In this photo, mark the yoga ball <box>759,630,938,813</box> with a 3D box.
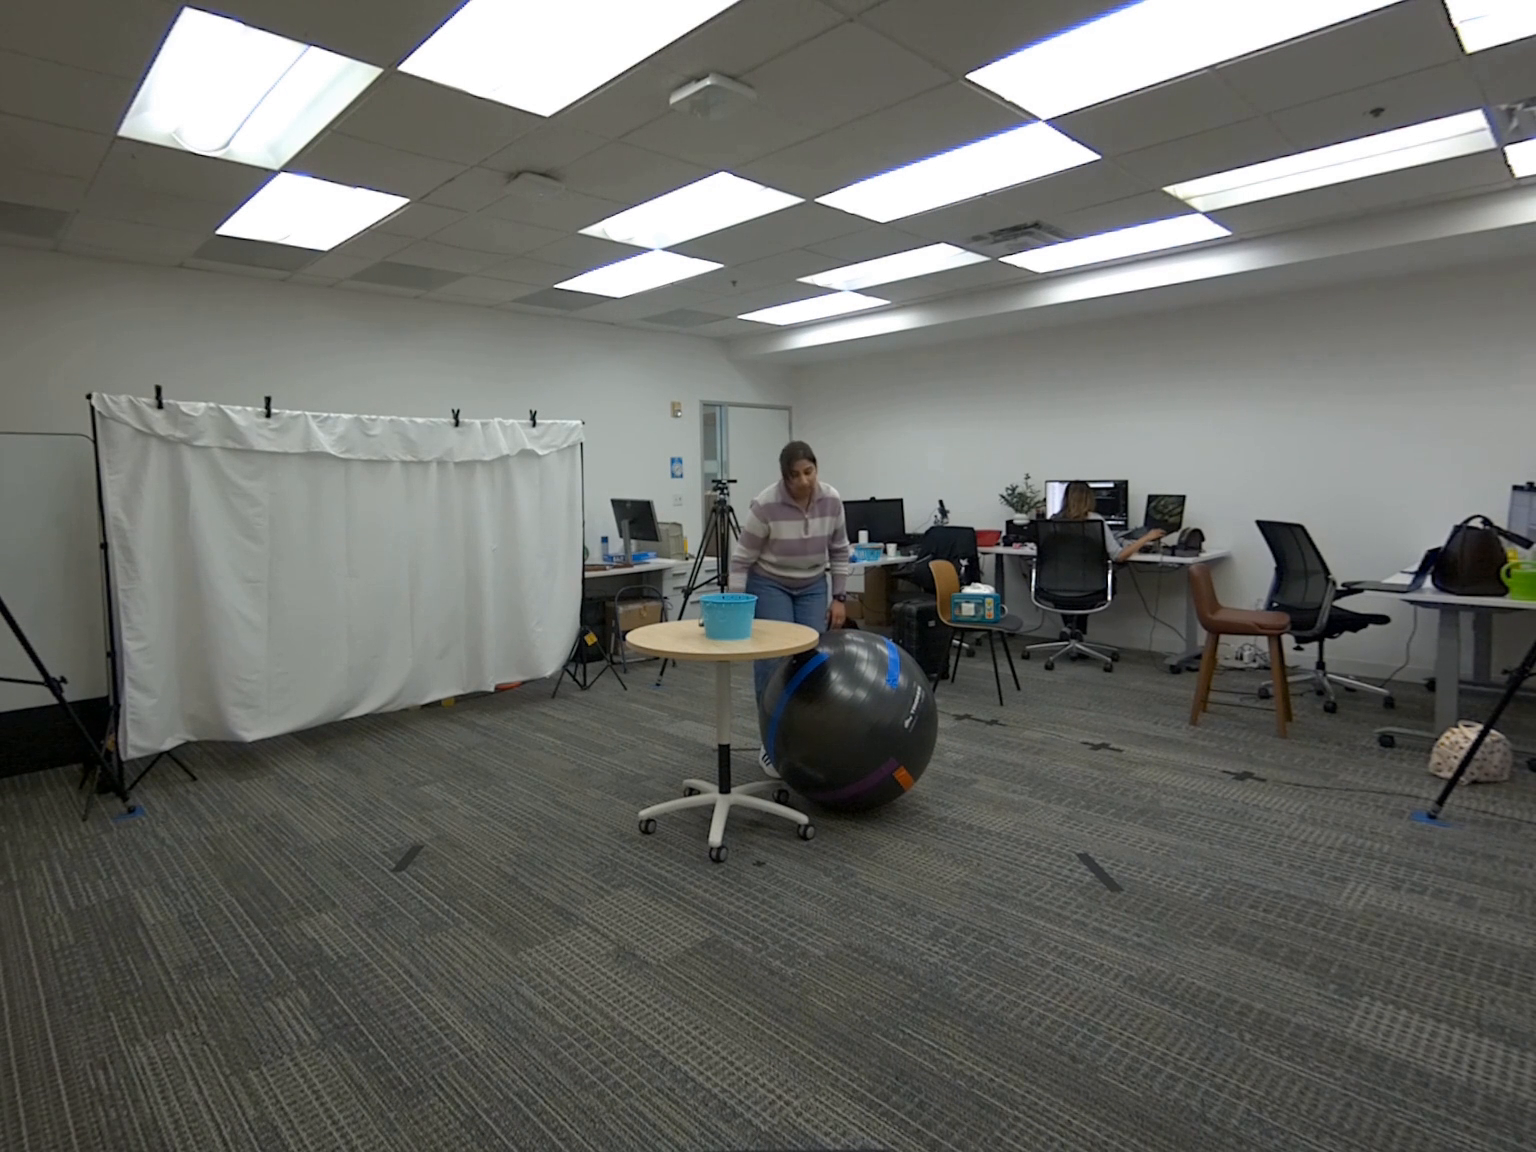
[{"bbox_3d":[0.357,0.611,3.654,0.757,0.755,0.762,-1,5,-2],"label":"yoga ball"}]
